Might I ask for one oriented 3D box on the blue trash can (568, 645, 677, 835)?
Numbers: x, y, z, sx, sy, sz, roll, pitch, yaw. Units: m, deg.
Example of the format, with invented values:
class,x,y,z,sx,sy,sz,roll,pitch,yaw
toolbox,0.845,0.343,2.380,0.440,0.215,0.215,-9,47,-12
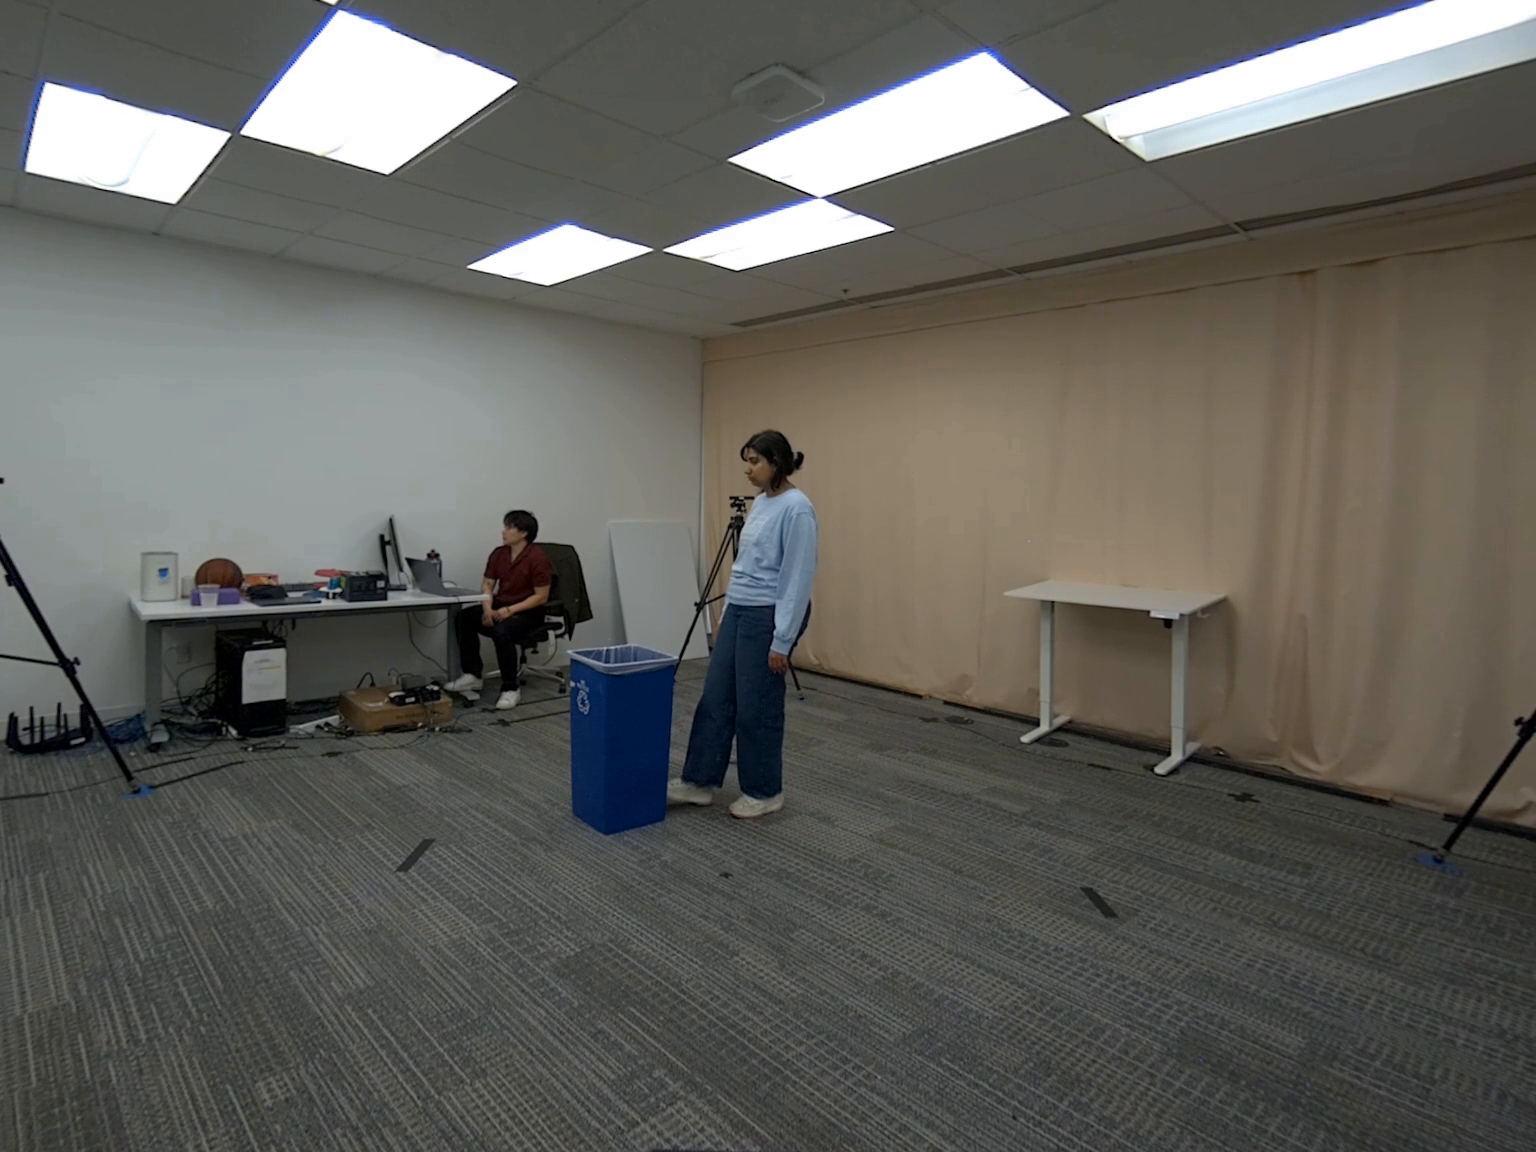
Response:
class,x,y,z,sx,sy,sz,roll,pitch,yaw
blue trash can,-0.647,0.690,3.620,0.365,0.712,0.388,-1,5,-40
